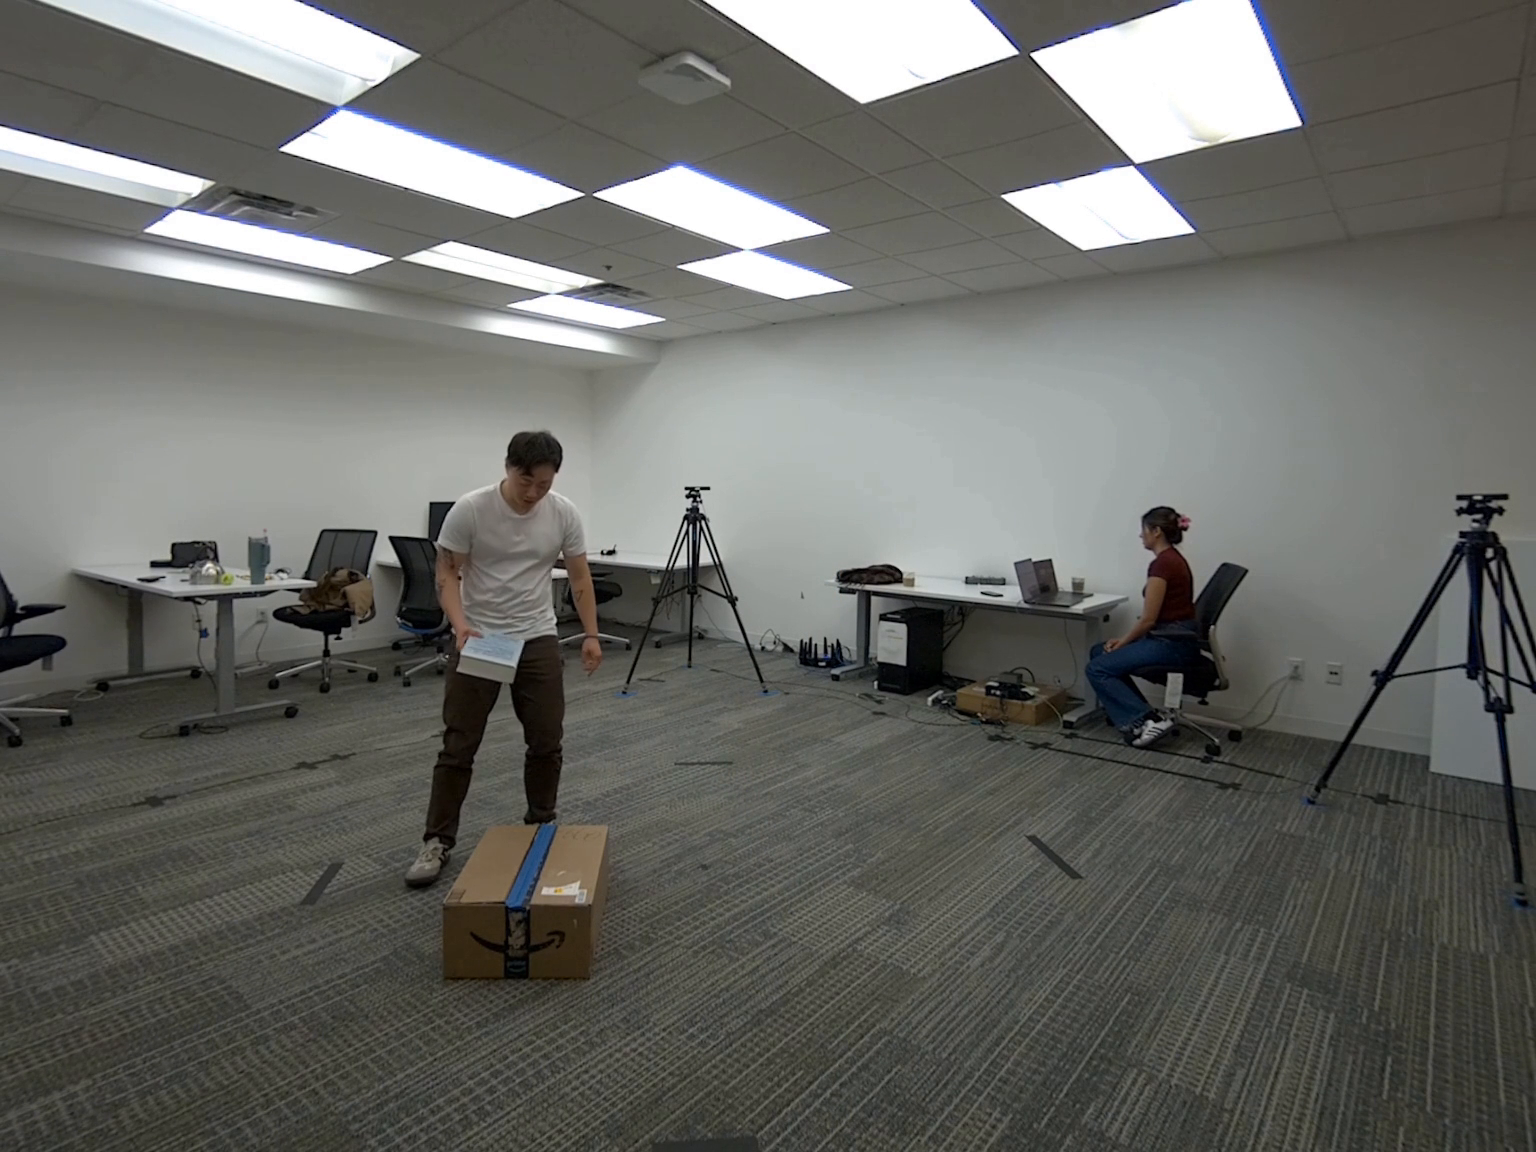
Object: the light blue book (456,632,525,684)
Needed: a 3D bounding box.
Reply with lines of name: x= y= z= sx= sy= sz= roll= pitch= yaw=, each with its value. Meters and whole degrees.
light blue book: x=-0.956 y=0.270 z=2.899 sx=0.190 sy=0.058 sz=0.265 roll=14 pitch=12 yaw=-8
